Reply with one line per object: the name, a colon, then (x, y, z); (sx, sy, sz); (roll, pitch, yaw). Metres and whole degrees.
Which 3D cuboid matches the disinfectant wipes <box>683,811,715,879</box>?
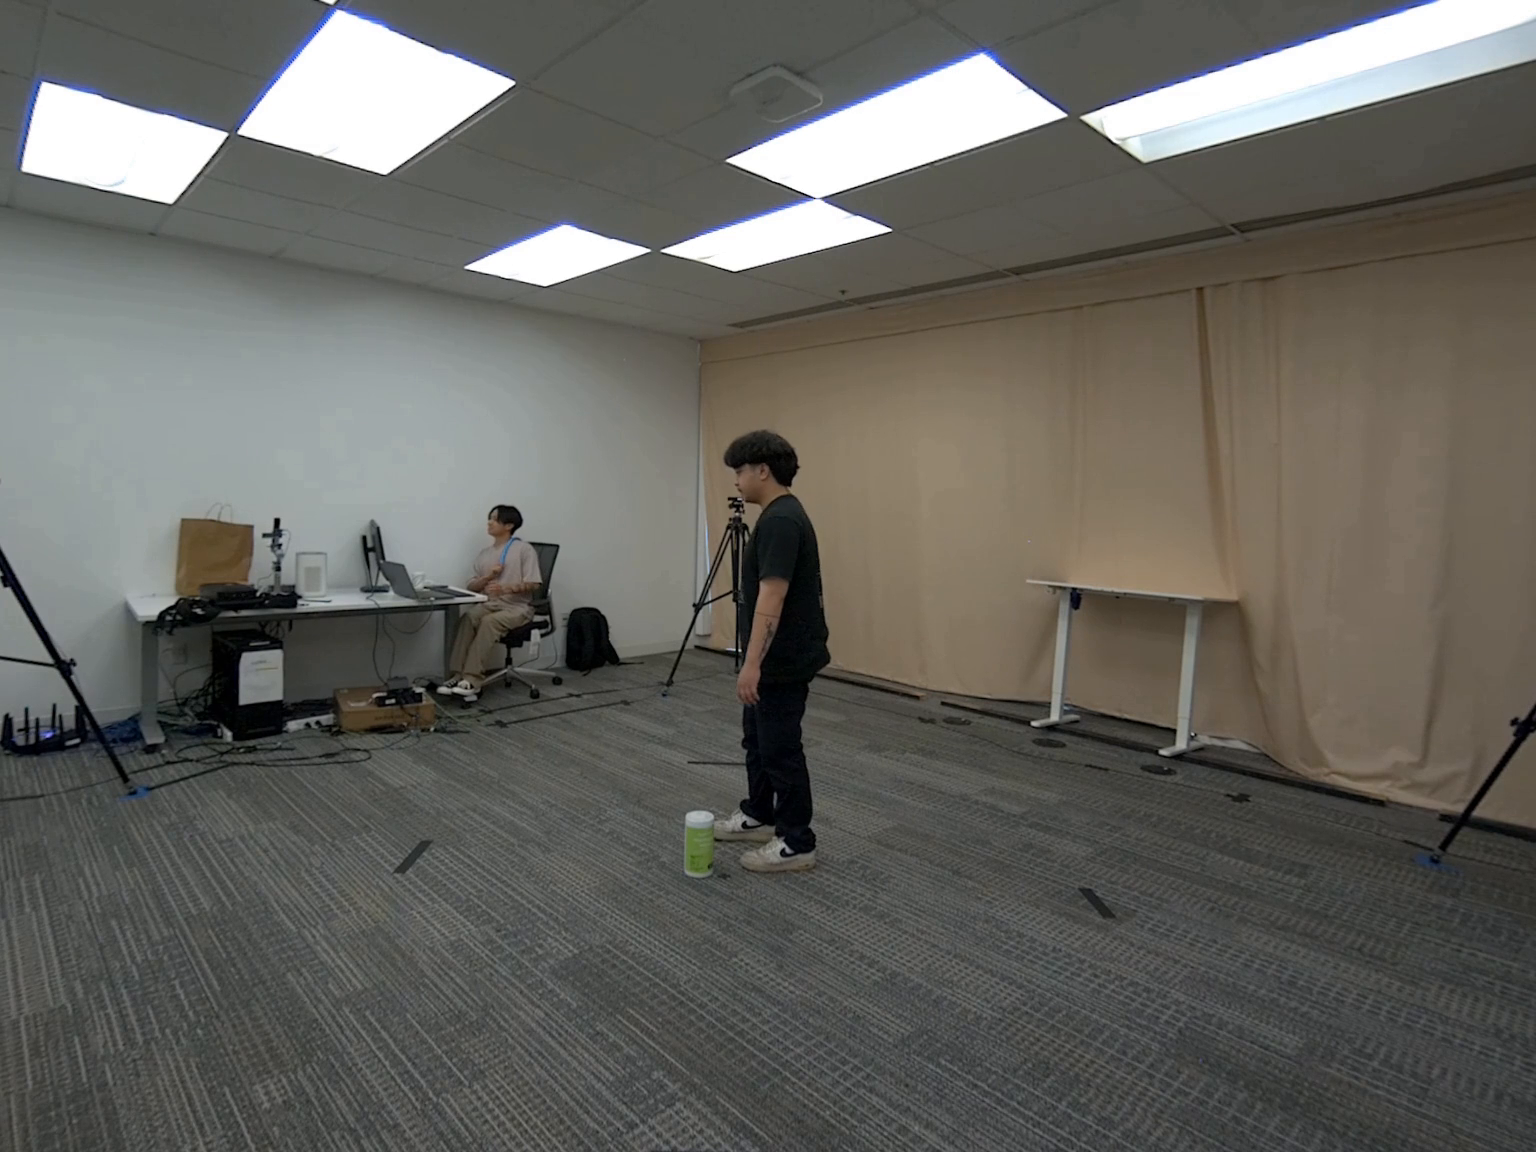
disinfectant wipes: (-0.264, 0.997, 3.123); (0.118, 0.217, 0.118); (3, 4, -2)
